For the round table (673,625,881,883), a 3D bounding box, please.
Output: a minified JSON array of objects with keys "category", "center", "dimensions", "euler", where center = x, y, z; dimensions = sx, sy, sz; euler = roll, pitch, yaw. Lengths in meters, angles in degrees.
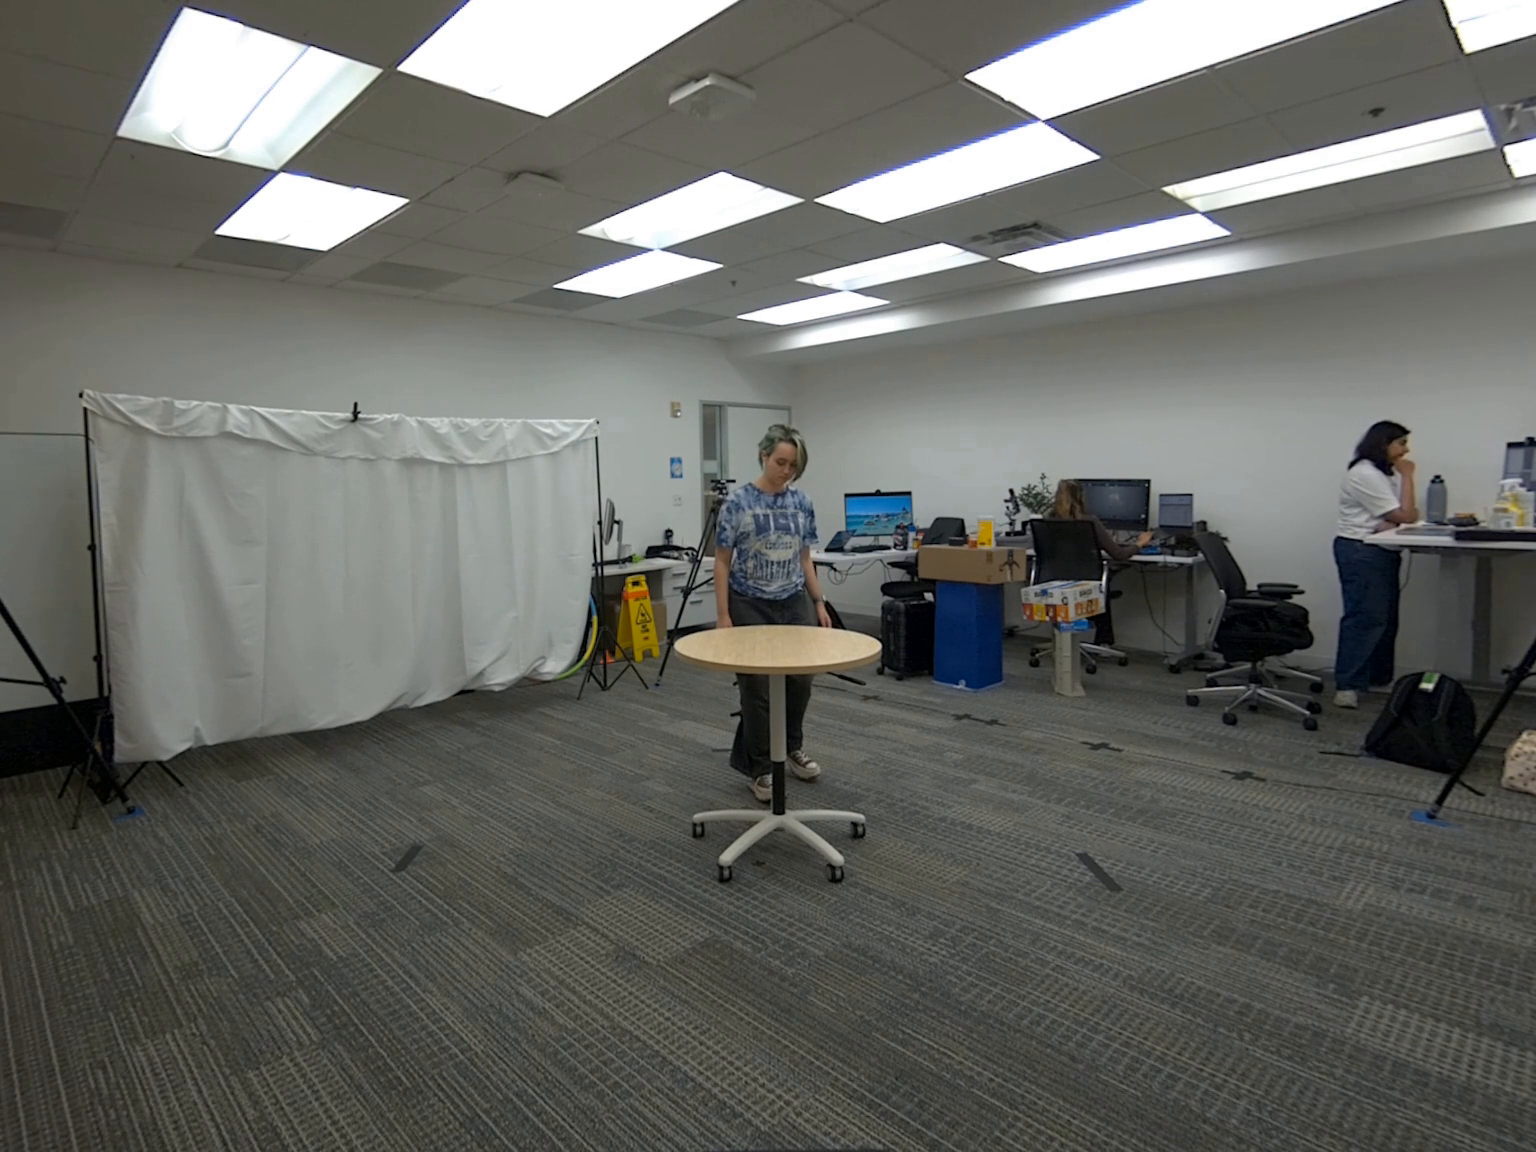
[{"category":"round table","center":[0.035,0.648,3.197],"dimensions":[0.763,0.791,0.768],"euler":[-1,5,-2]}]
